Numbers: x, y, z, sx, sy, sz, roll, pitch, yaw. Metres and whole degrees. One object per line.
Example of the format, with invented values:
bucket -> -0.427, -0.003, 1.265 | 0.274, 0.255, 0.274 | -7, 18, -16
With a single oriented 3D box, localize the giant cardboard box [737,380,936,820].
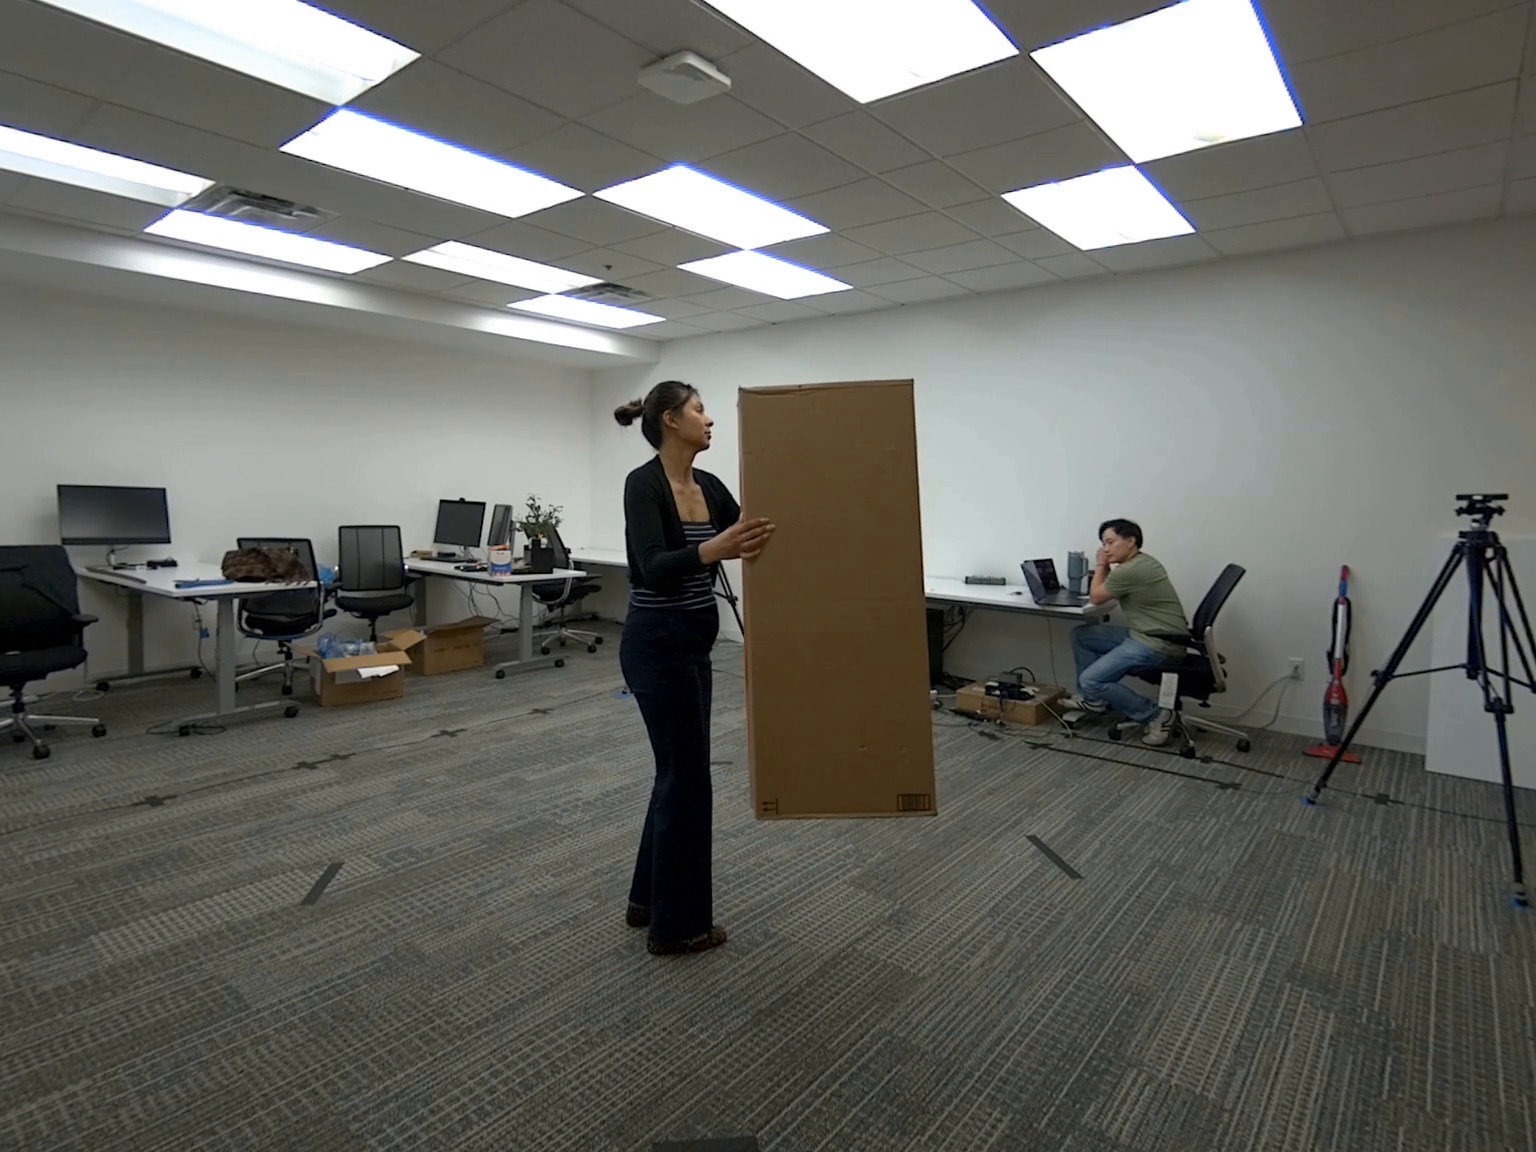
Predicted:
giant cardboard box -> 0.150, 0.058, 2.289 | 0.426, 1.030, 0.575 | -2, -3, 0
